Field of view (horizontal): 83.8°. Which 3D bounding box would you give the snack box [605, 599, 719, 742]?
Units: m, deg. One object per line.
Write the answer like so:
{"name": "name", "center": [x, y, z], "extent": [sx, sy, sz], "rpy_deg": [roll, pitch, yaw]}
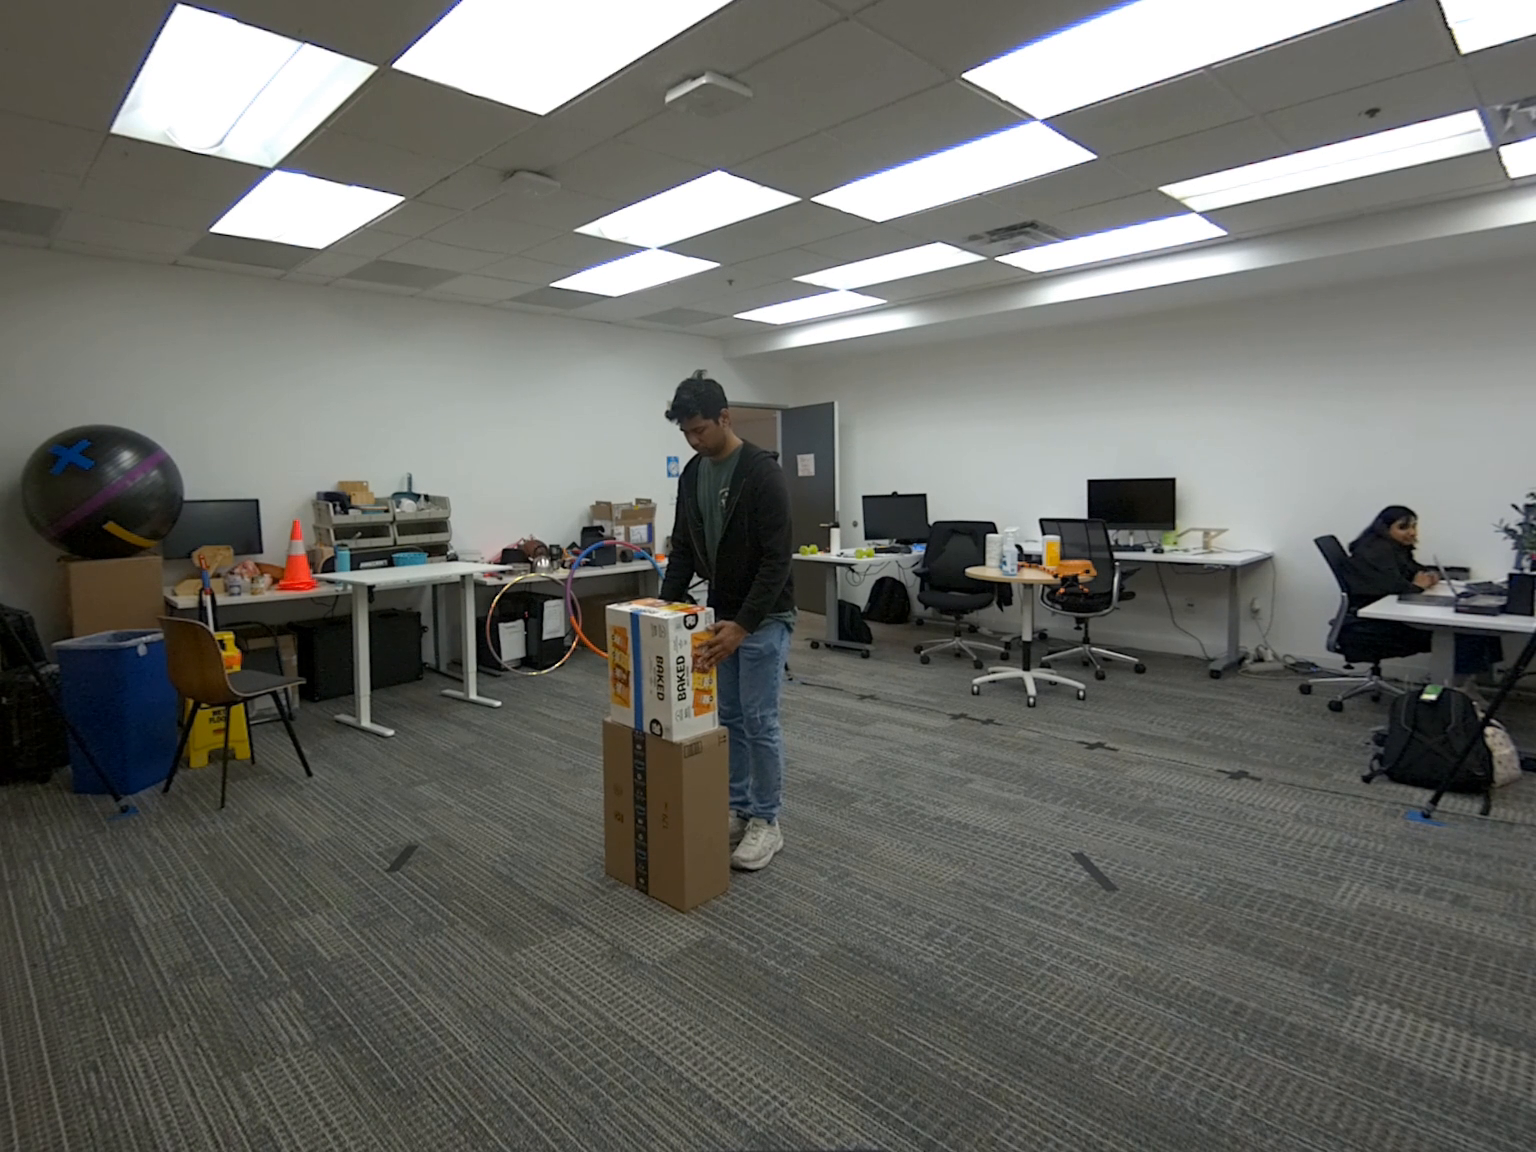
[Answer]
{"name": "snack box", "center": [-0.358, 0.306, 2.899], "extent": [0.200, 0.403, 0.351], "rpy_deg": [-8, 8, -43]}
